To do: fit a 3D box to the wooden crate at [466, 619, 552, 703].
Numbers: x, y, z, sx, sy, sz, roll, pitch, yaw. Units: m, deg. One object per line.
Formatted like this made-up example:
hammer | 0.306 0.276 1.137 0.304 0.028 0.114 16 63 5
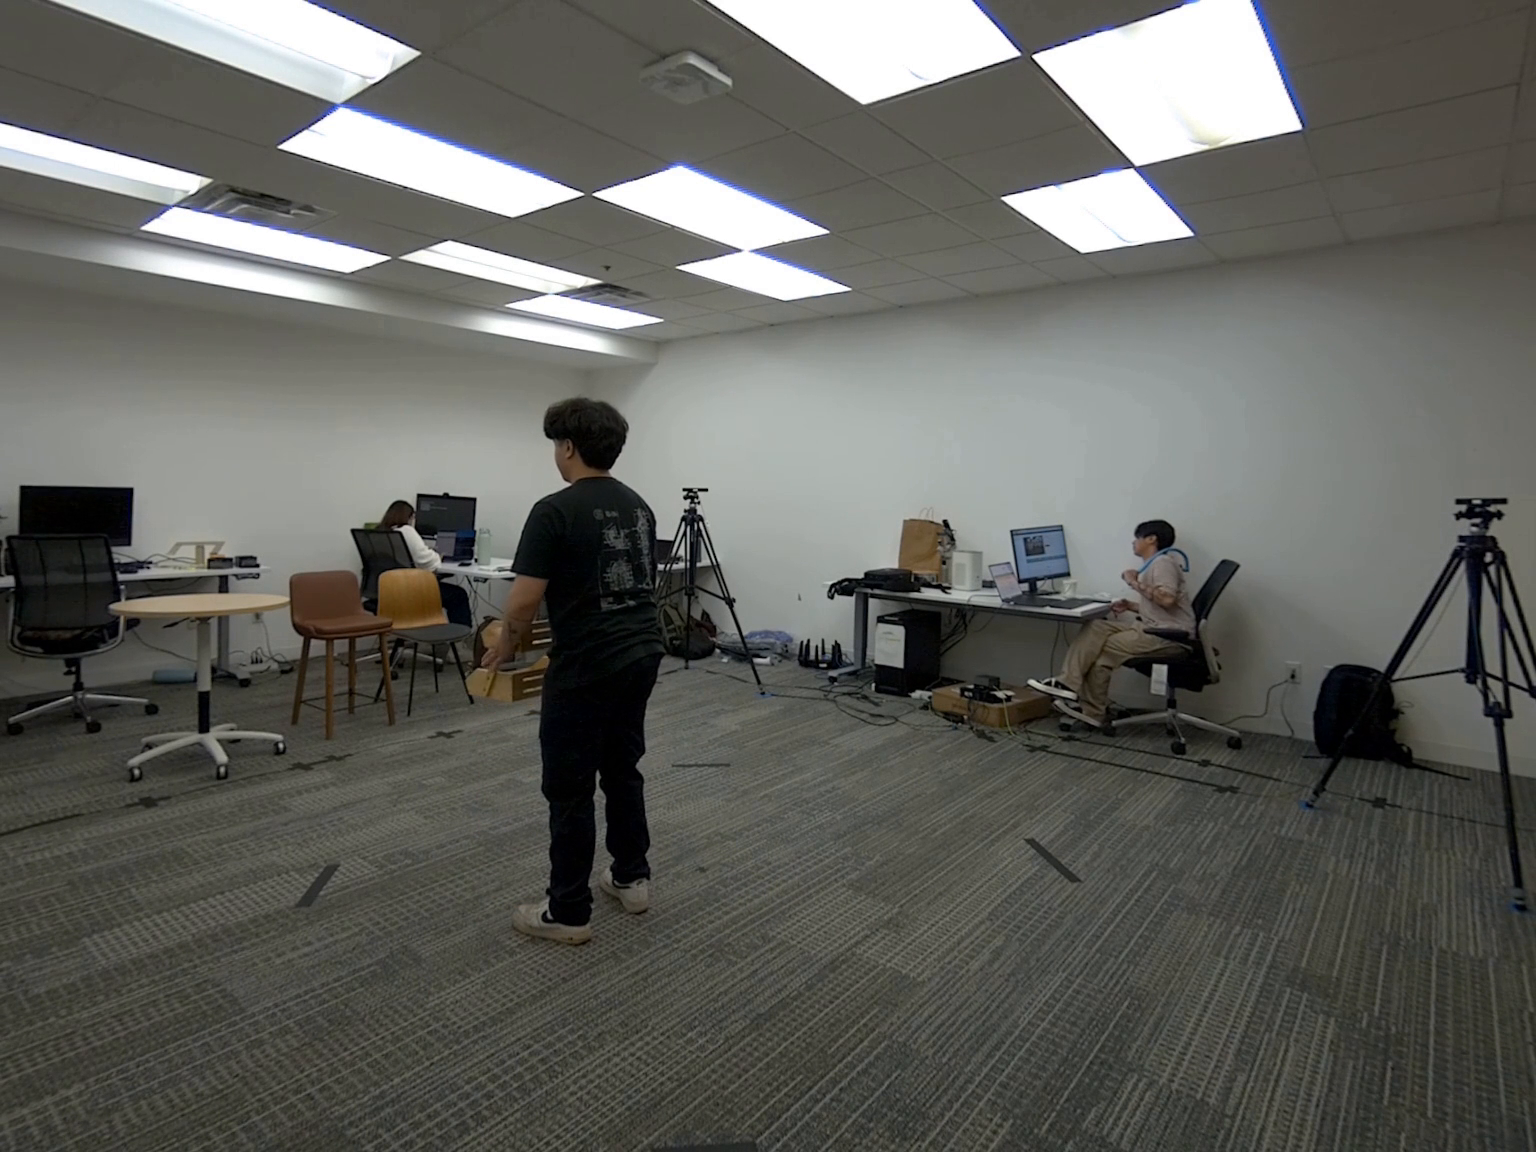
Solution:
wooden crate | -0.853 0.260 2.957 0.311 0.272 0.315 3 5 35
